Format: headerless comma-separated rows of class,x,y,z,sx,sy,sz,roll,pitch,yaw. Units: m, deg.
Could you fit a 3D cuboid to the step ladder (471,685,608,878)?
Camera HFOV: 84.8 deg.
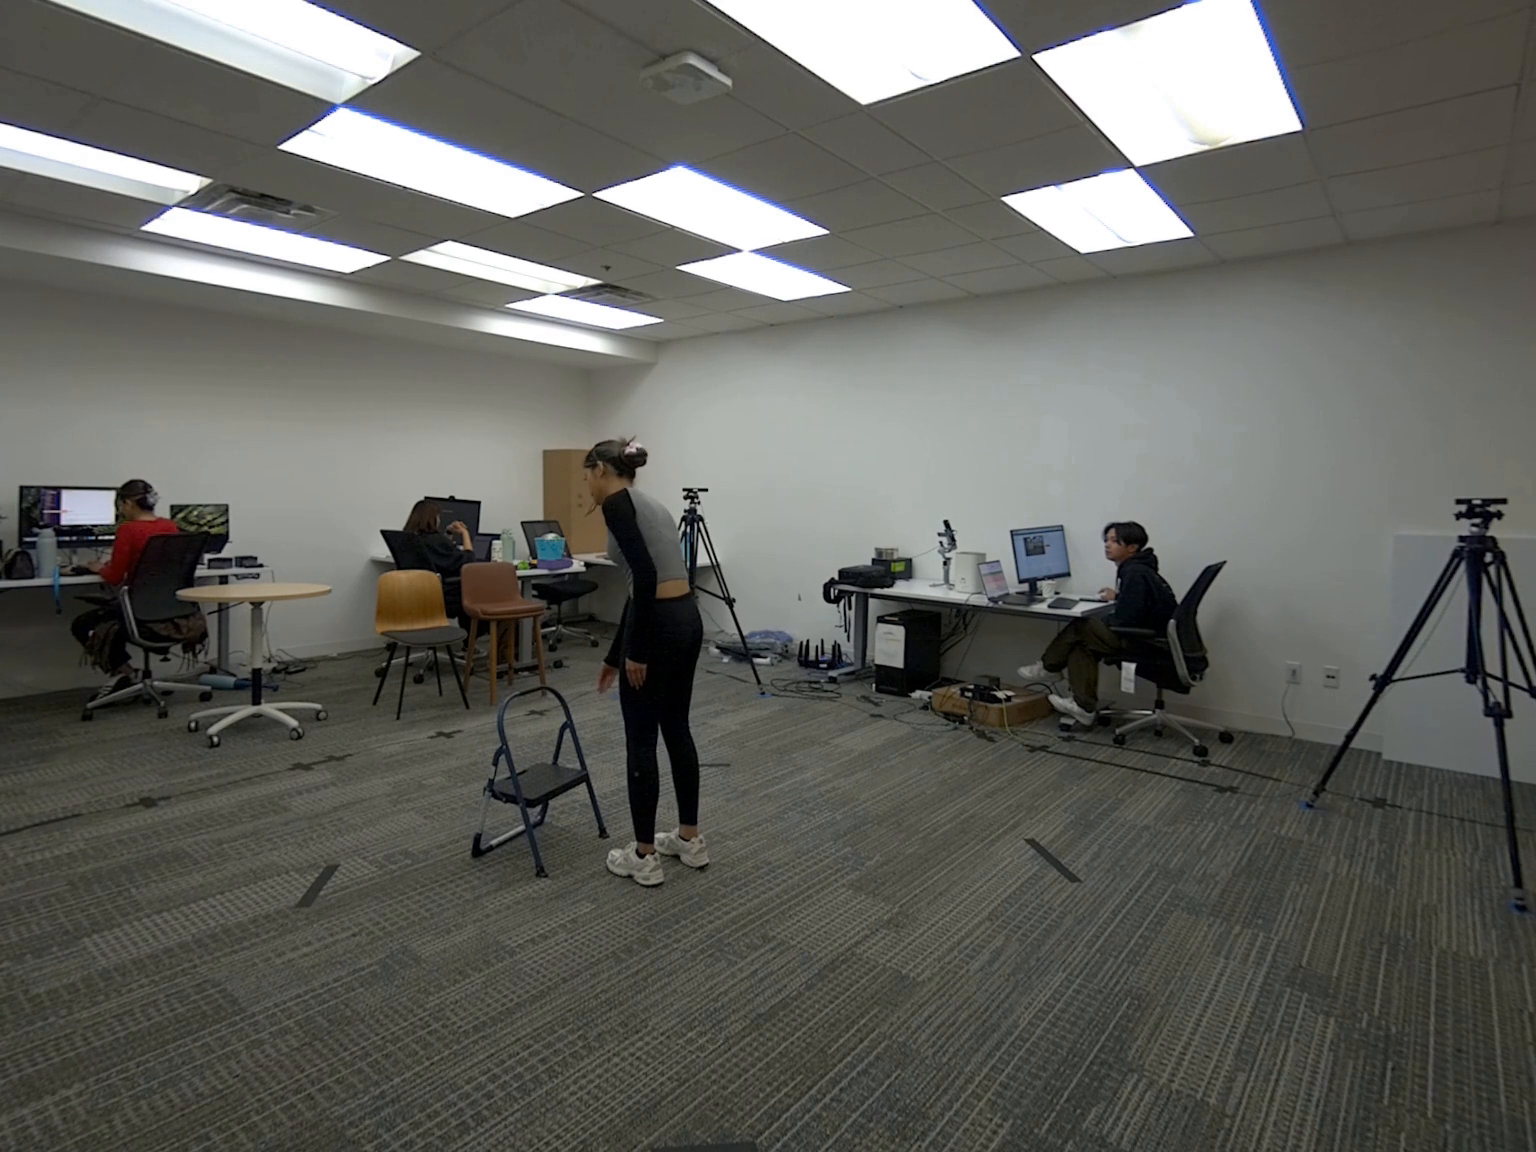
step ladder,-0.878,0.741,3.270,0.358,0.605,0.421,2,3,24
